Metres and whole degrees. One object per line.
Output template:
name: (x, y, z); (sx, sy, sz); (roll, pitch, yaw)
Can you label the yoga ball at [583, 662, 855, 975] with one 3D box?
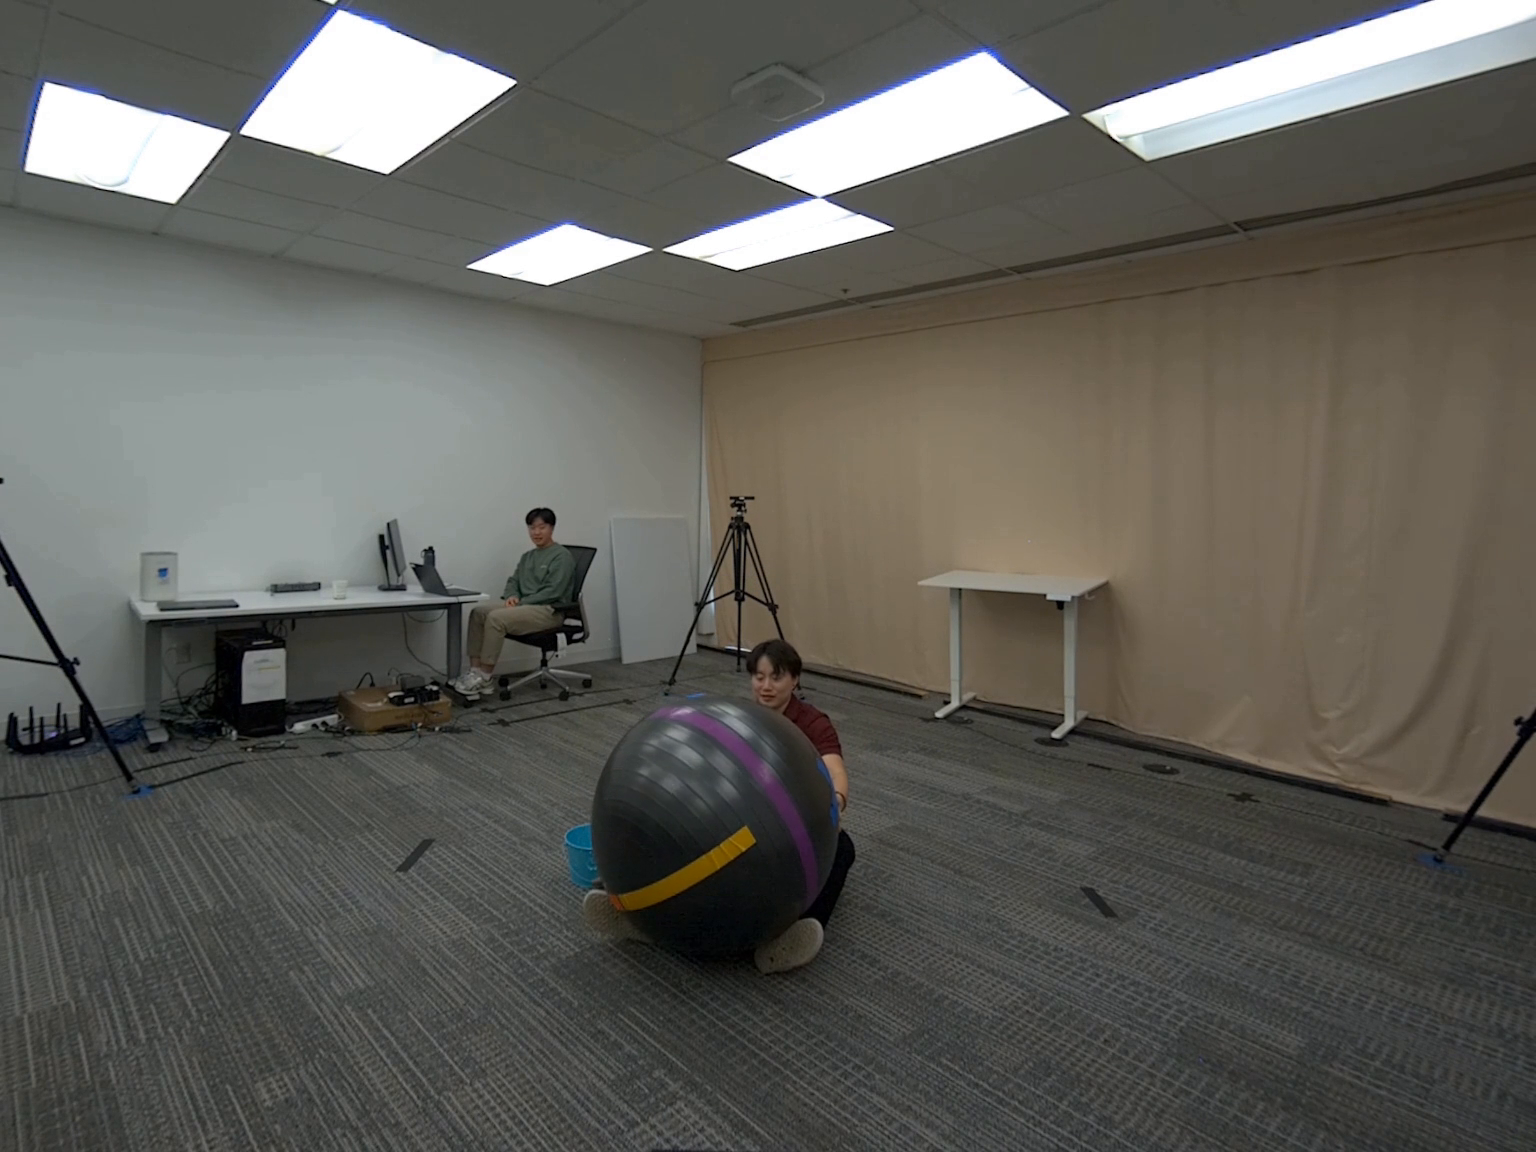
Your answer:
yoga ball: (-0.163, 0.750, 2.585); (0.757, 0.756, 0.761); (1, 4, -1)
